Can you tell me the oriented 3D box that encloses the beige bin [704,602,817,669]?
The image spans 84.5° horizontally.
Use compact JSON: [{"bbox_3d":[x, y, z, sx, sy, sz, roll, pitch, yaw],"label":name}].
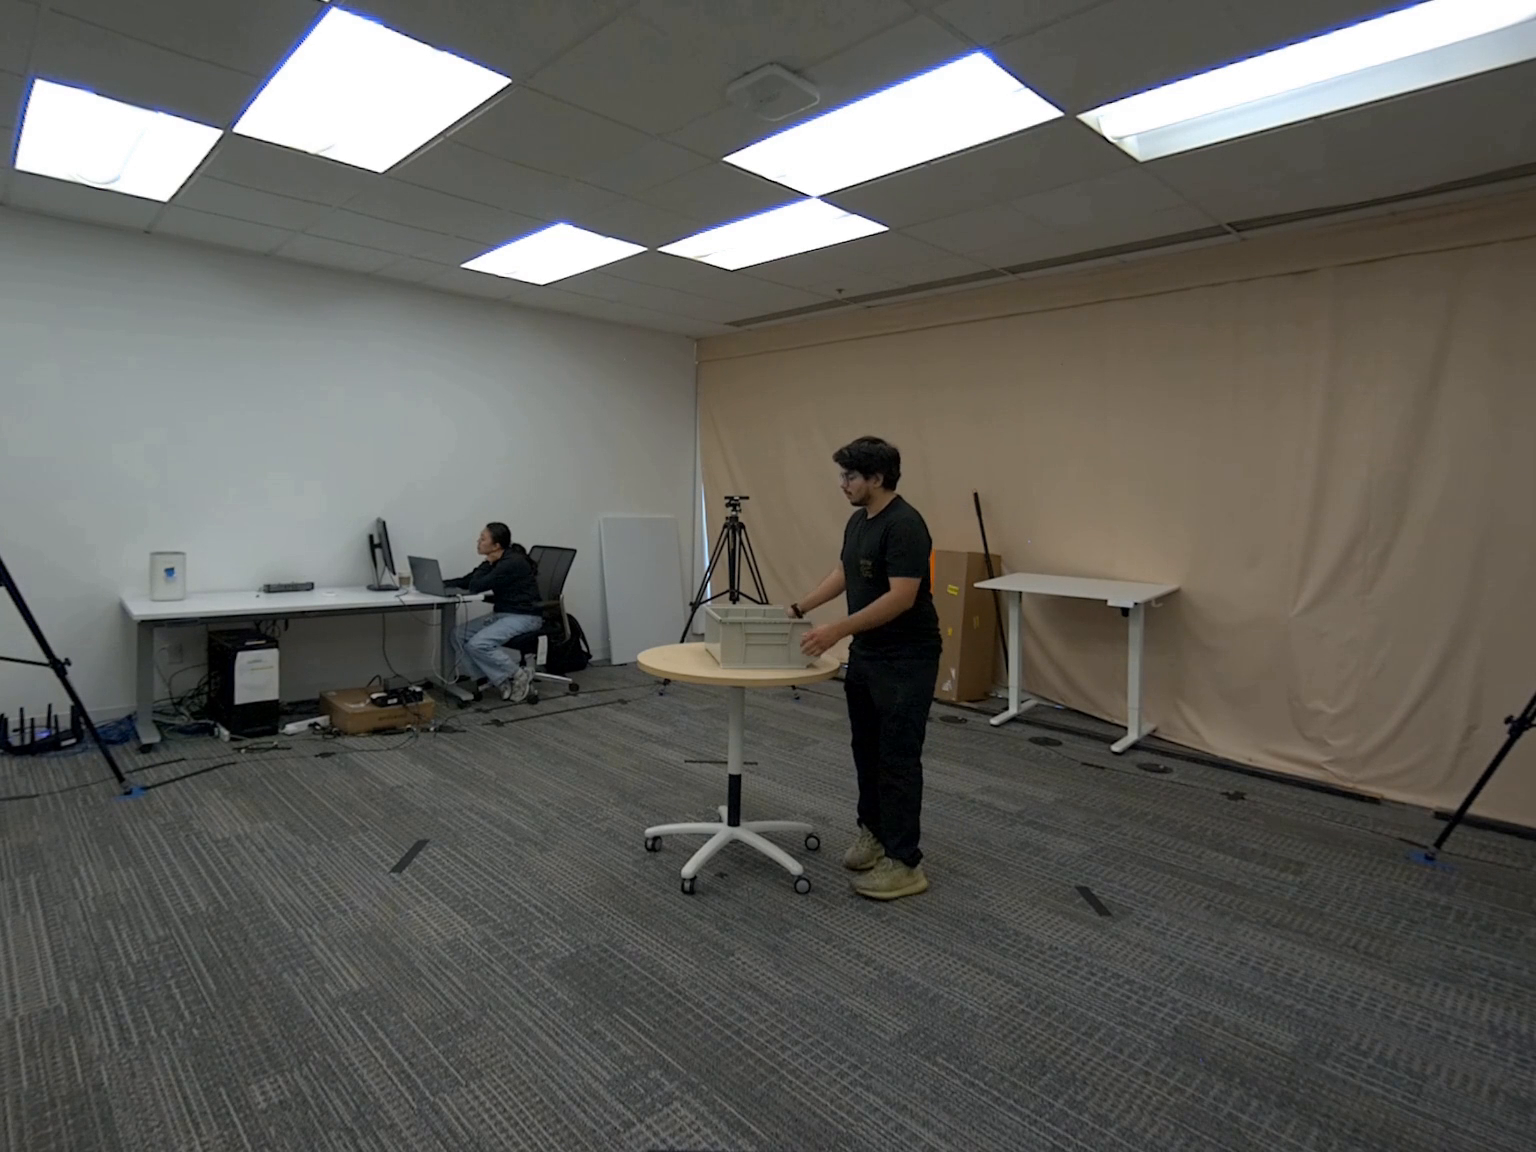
[{"bbox_3d":[-0.040,0.220,3.201,0.374,0.188,0.428,0,6,-12],"label":"beige bin"}]
